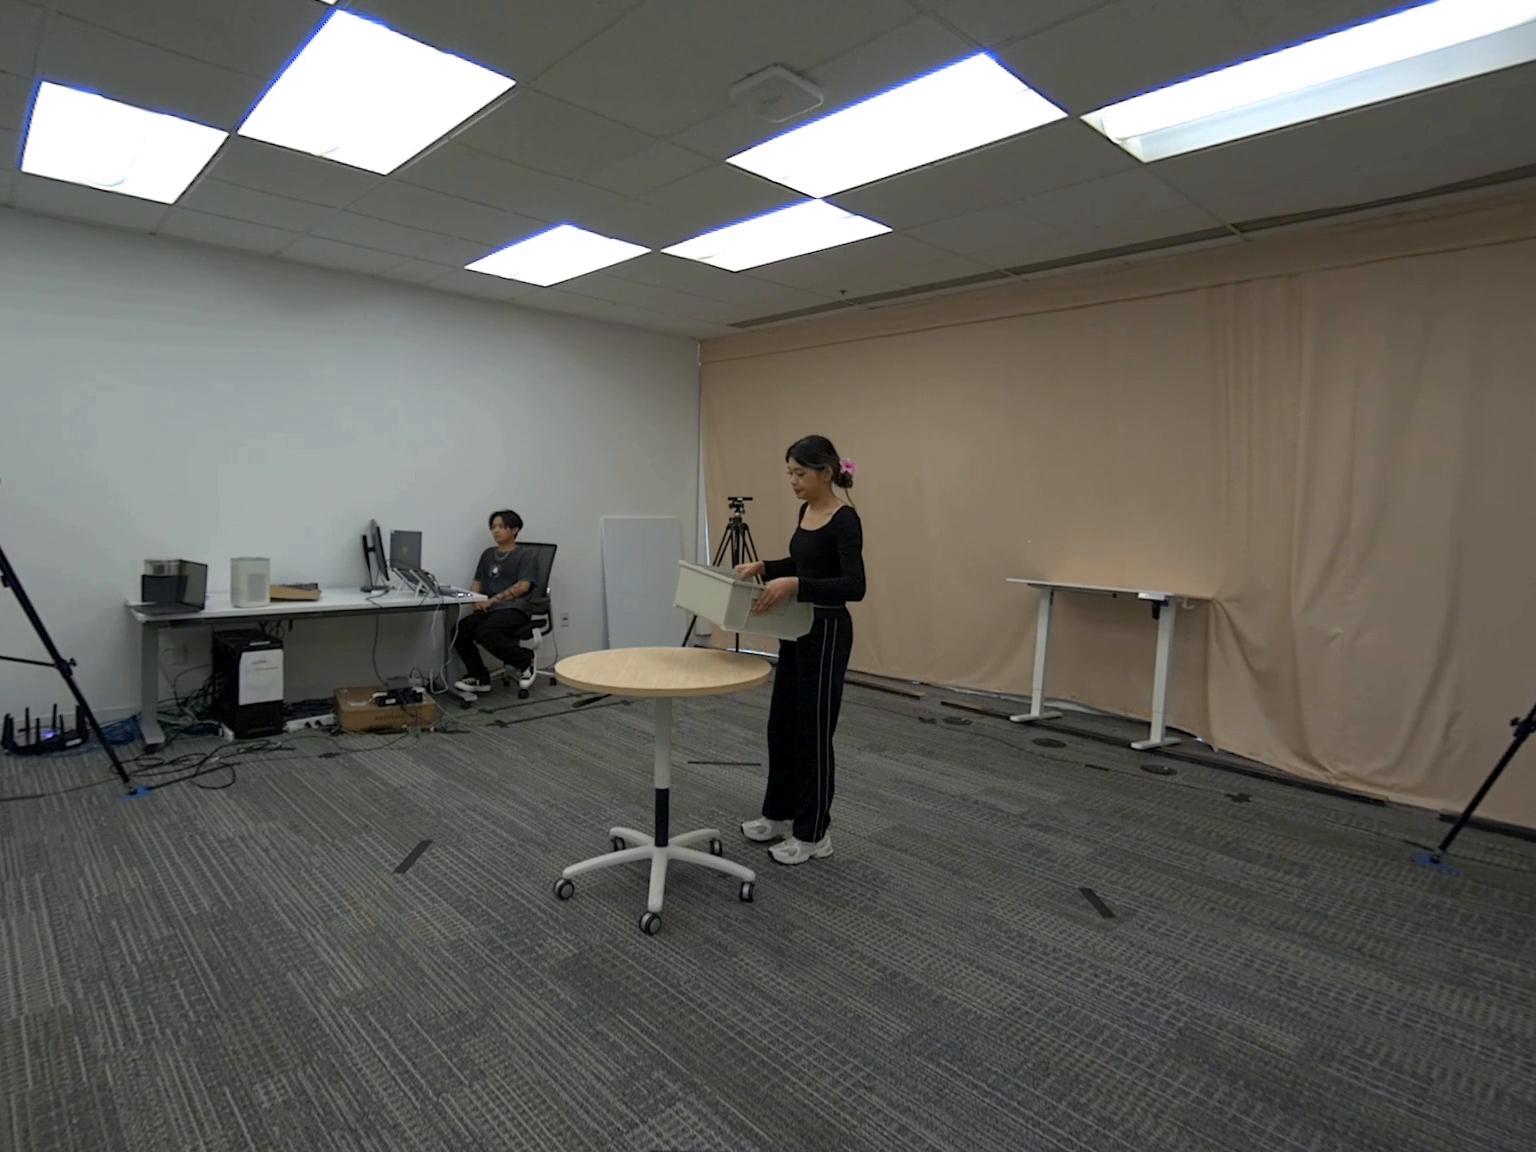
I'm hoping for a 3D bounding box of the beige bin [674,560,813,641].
[{"bbox_3d":[-0.099,0.091,3.148,0.369,0.188,0.434,6,8,-32],"label":"beige bin"}]
